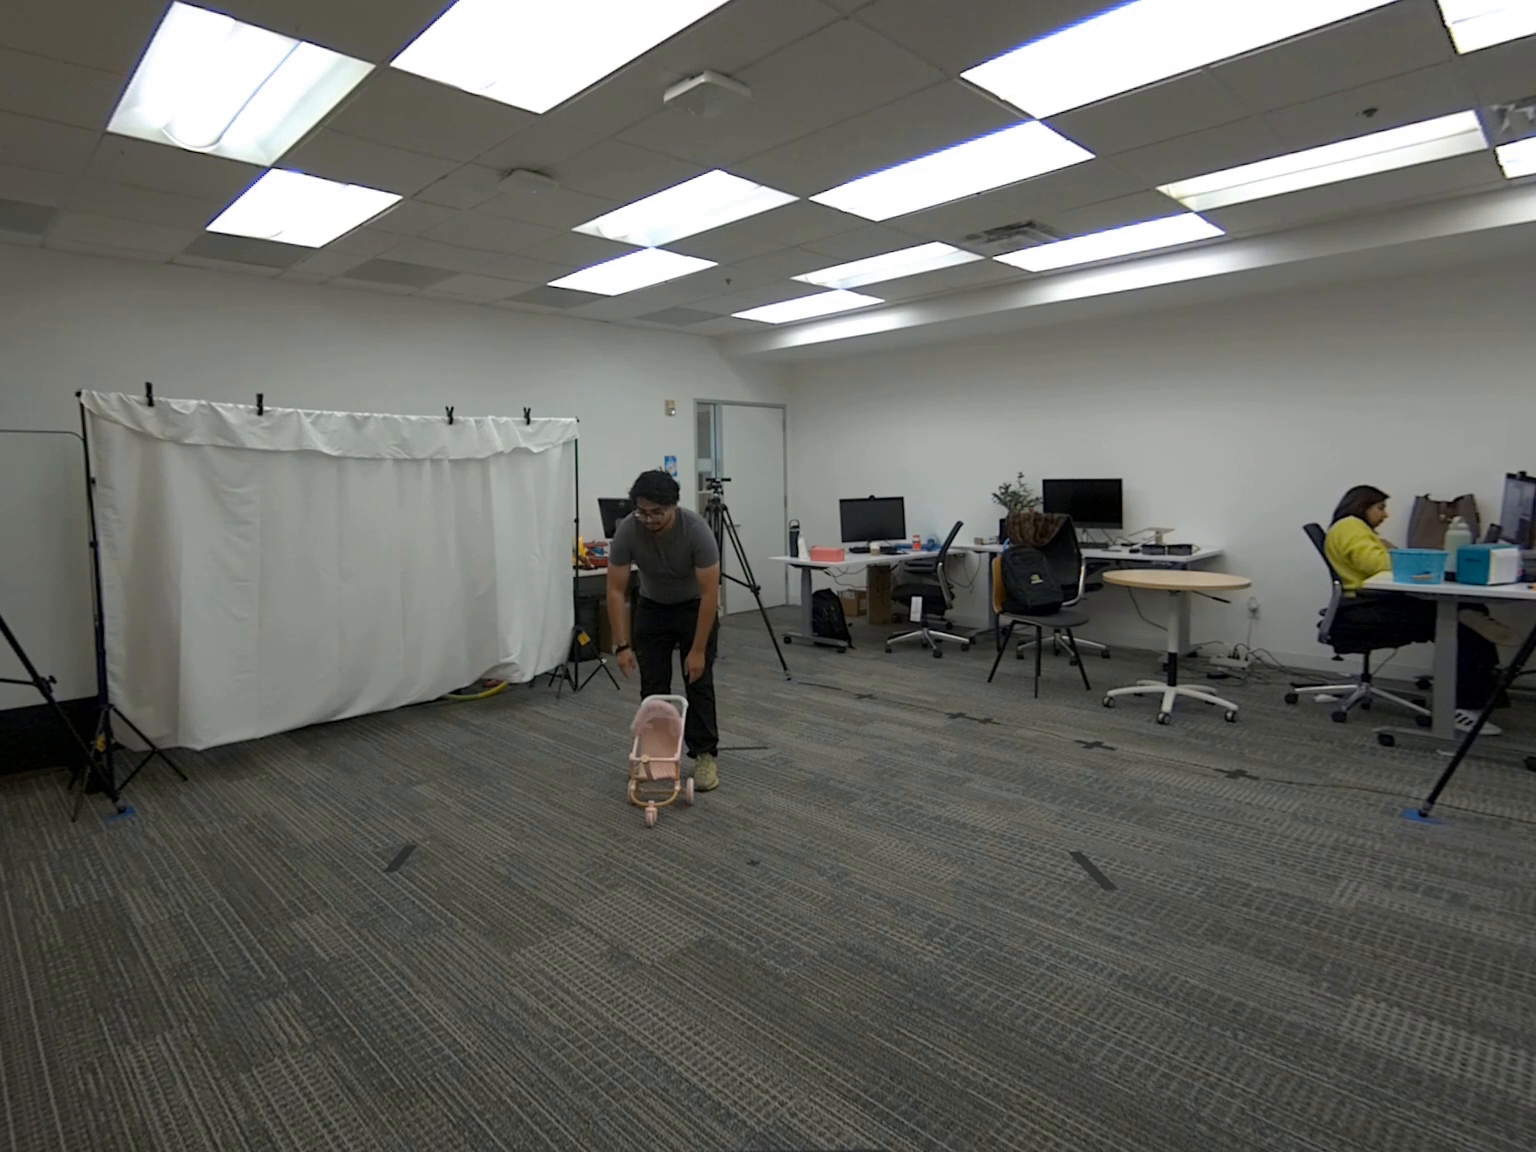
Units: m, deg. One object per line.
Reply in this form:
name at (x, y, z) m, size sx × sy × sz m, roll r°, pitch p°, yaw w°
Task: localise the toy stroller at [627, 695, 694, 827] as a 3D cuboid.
toy stroller at (-0.462, 0.774, 3.619) m, size 0.284 × 0.541 × 0.335 m, roll -1°, pitch -12°, yaw 8°
